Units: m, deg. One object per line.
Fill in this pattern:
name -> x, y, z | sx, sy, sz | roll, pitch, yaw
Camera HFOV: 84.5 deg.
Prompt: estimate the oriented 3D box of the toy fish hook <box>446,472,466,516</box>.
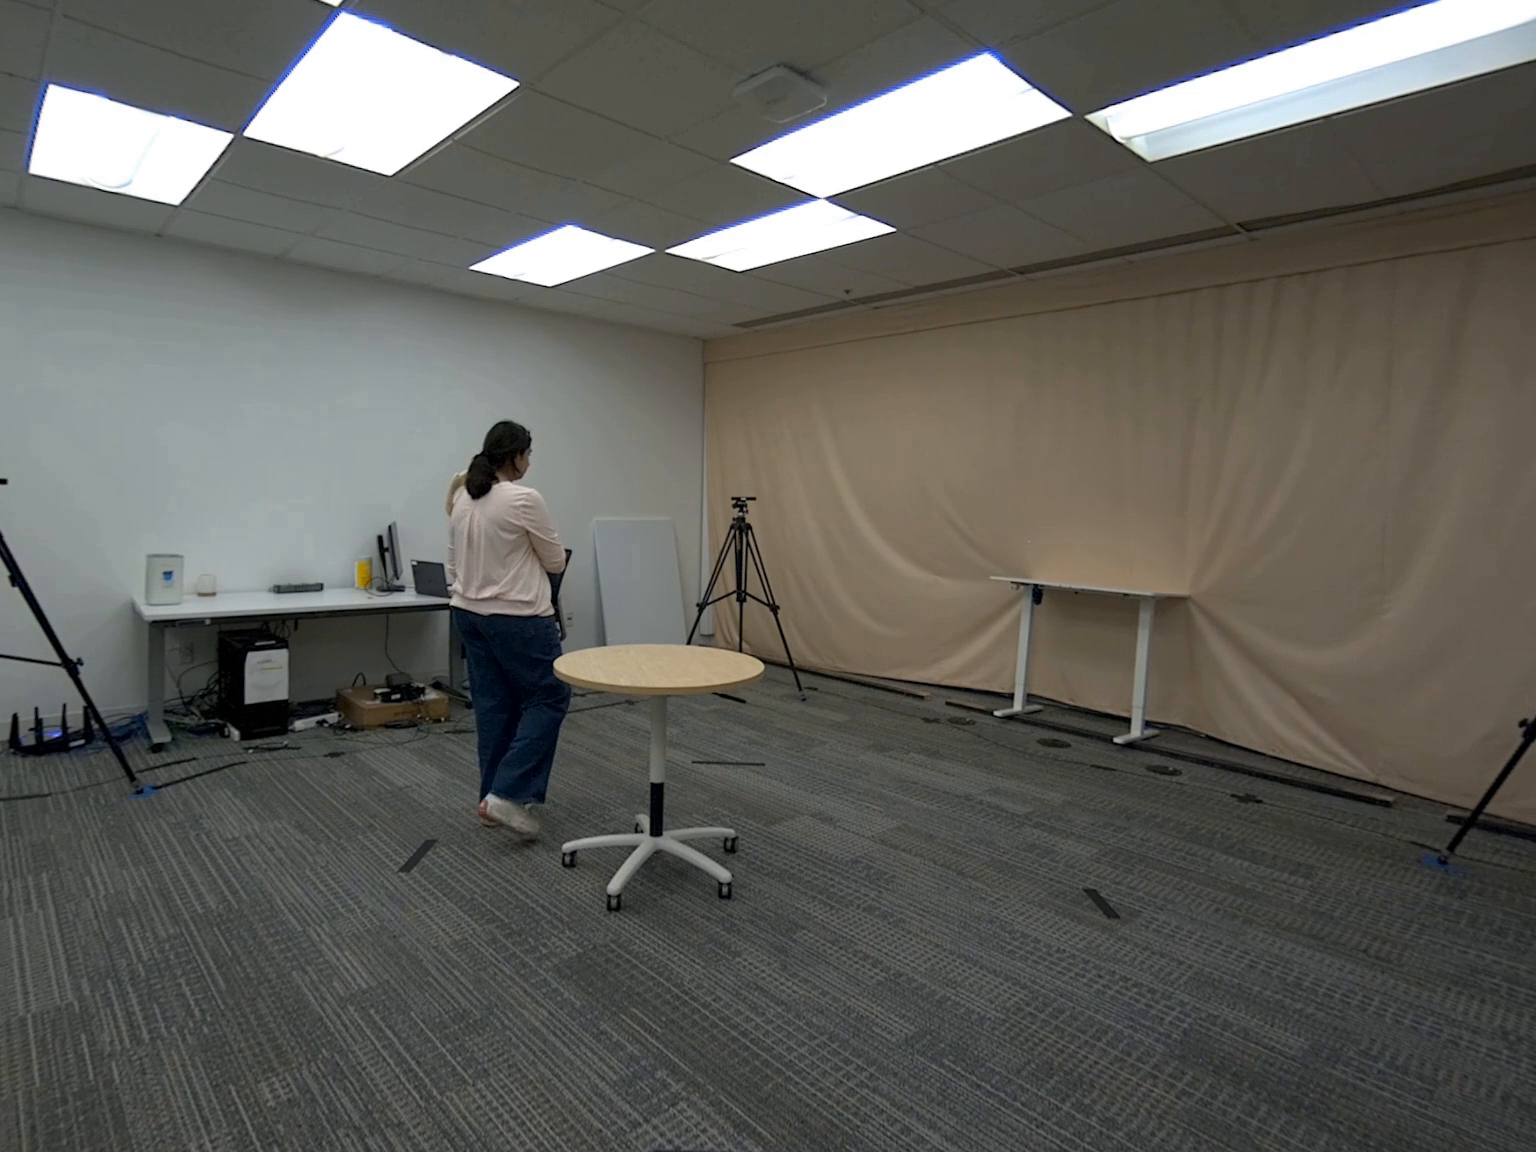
toy fish hook -> -1.229, -0.214, 3.561 | 0.222, 0.497, 0.050 | -24, 37, -34
